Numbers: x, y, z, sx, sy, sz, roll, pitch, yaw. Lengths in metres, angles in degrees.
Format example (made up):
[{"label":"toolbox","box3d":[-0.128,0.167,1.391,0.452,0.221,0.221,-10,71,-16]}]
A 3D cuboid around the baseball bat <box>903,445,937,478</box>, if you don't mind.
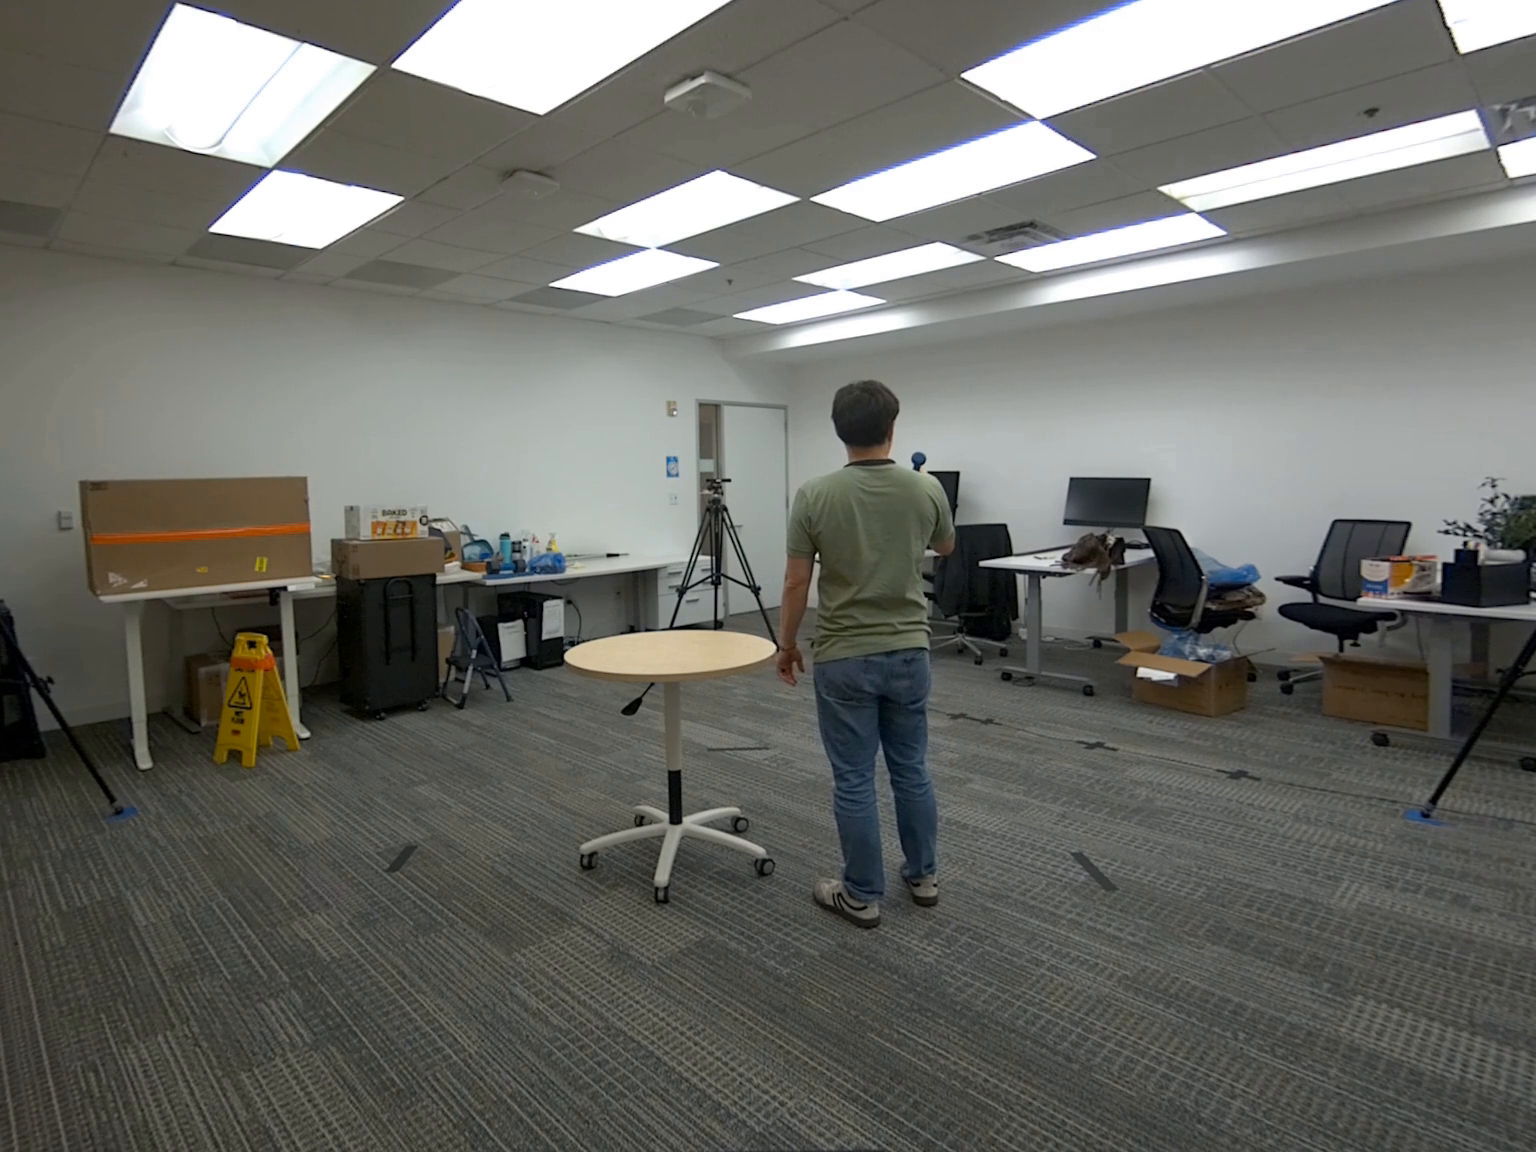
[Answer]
[{"label":"baseball bat","box3d":[0.540,-0.346,3.161,0.089,0.090,0.534,0,-12,4]}]
